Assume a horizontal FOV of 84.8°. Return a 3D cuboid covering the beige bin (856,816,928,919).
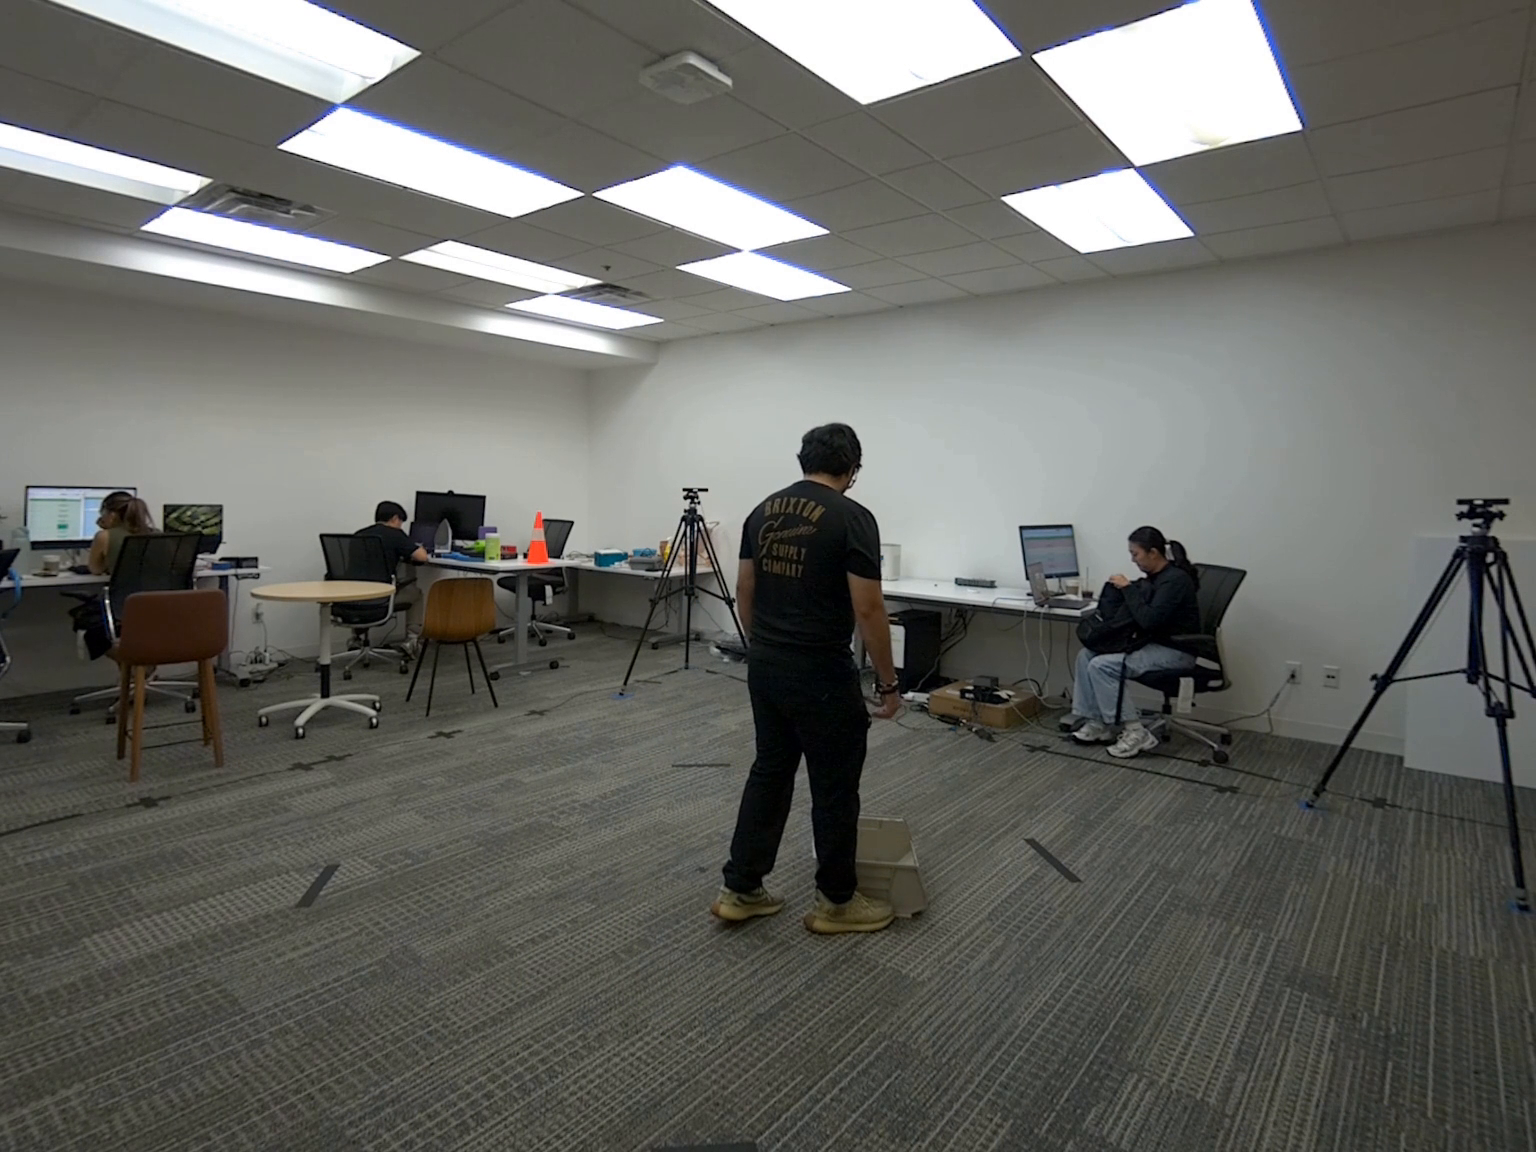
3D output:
[{"bbox_3d":[0.345,1.004,3.004,0.380,0.188,0.421,1,6,5],"label":"beige bin"}]
